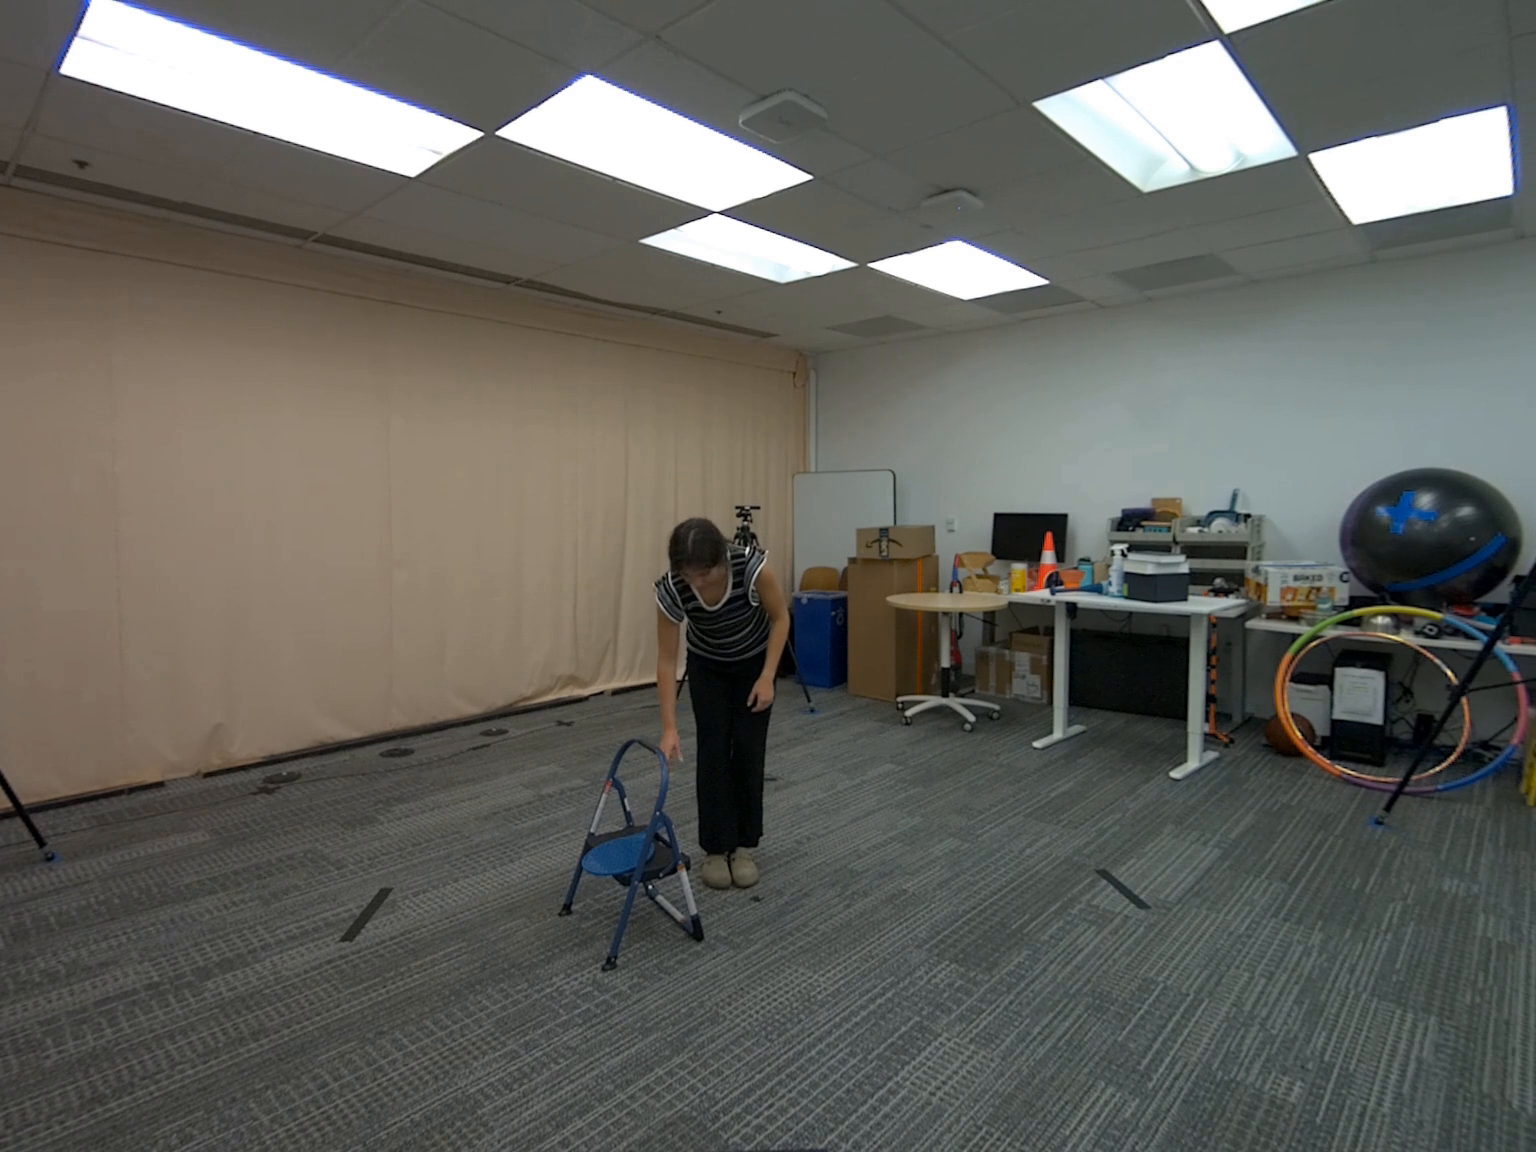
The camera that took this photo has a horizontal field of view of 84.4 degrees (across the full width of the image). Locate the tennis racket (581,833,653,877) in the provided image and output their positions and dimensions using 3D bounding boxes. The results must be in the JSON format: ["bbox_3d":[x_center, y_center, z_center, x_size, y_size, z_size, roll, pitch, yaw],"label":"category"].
[{"bbox_3d":[-0.441,0.891,2.797,0.218,0.031,0.425,-1,7,21],"label":"tennis racket"}]
